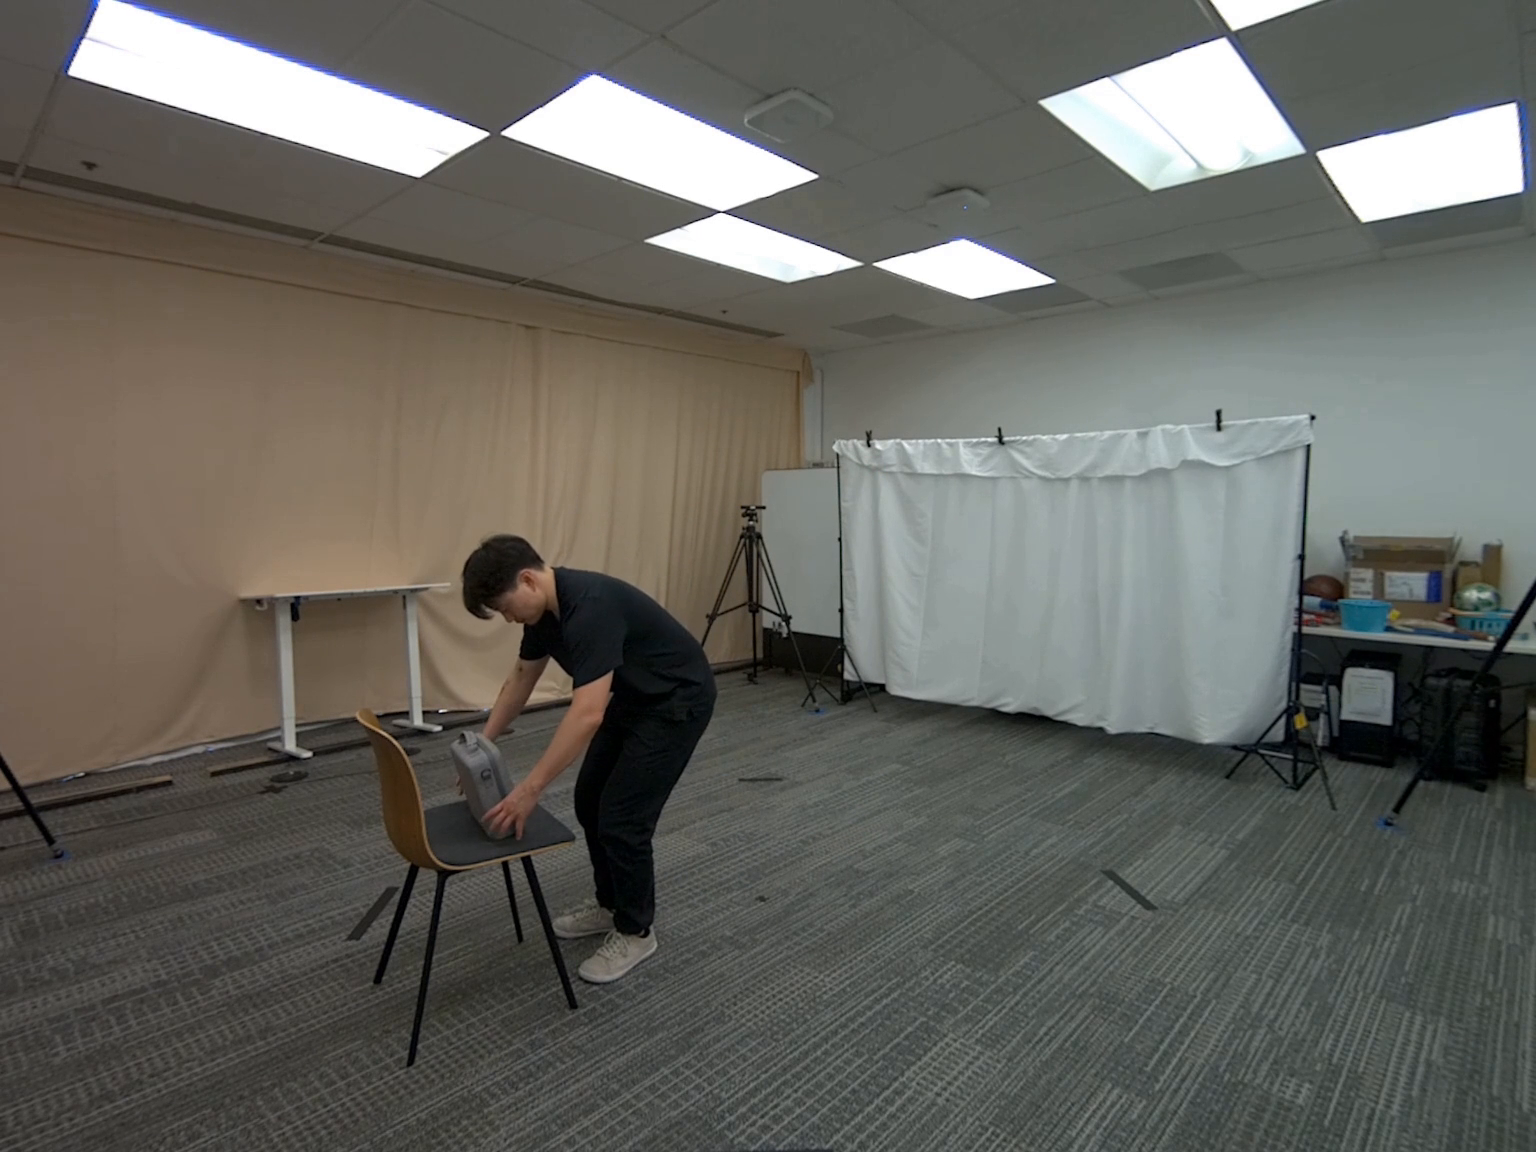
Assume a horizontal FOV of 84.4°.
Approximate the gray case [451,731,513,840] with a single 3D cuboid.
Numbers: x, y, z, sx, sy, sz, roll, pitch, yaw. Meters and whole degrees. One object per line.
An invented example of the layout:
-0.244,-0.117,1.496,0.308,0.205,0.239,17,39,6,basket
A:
-0.799,0.586,2.395,0.103,0.258,0.263,-17,12,-21,gray case
